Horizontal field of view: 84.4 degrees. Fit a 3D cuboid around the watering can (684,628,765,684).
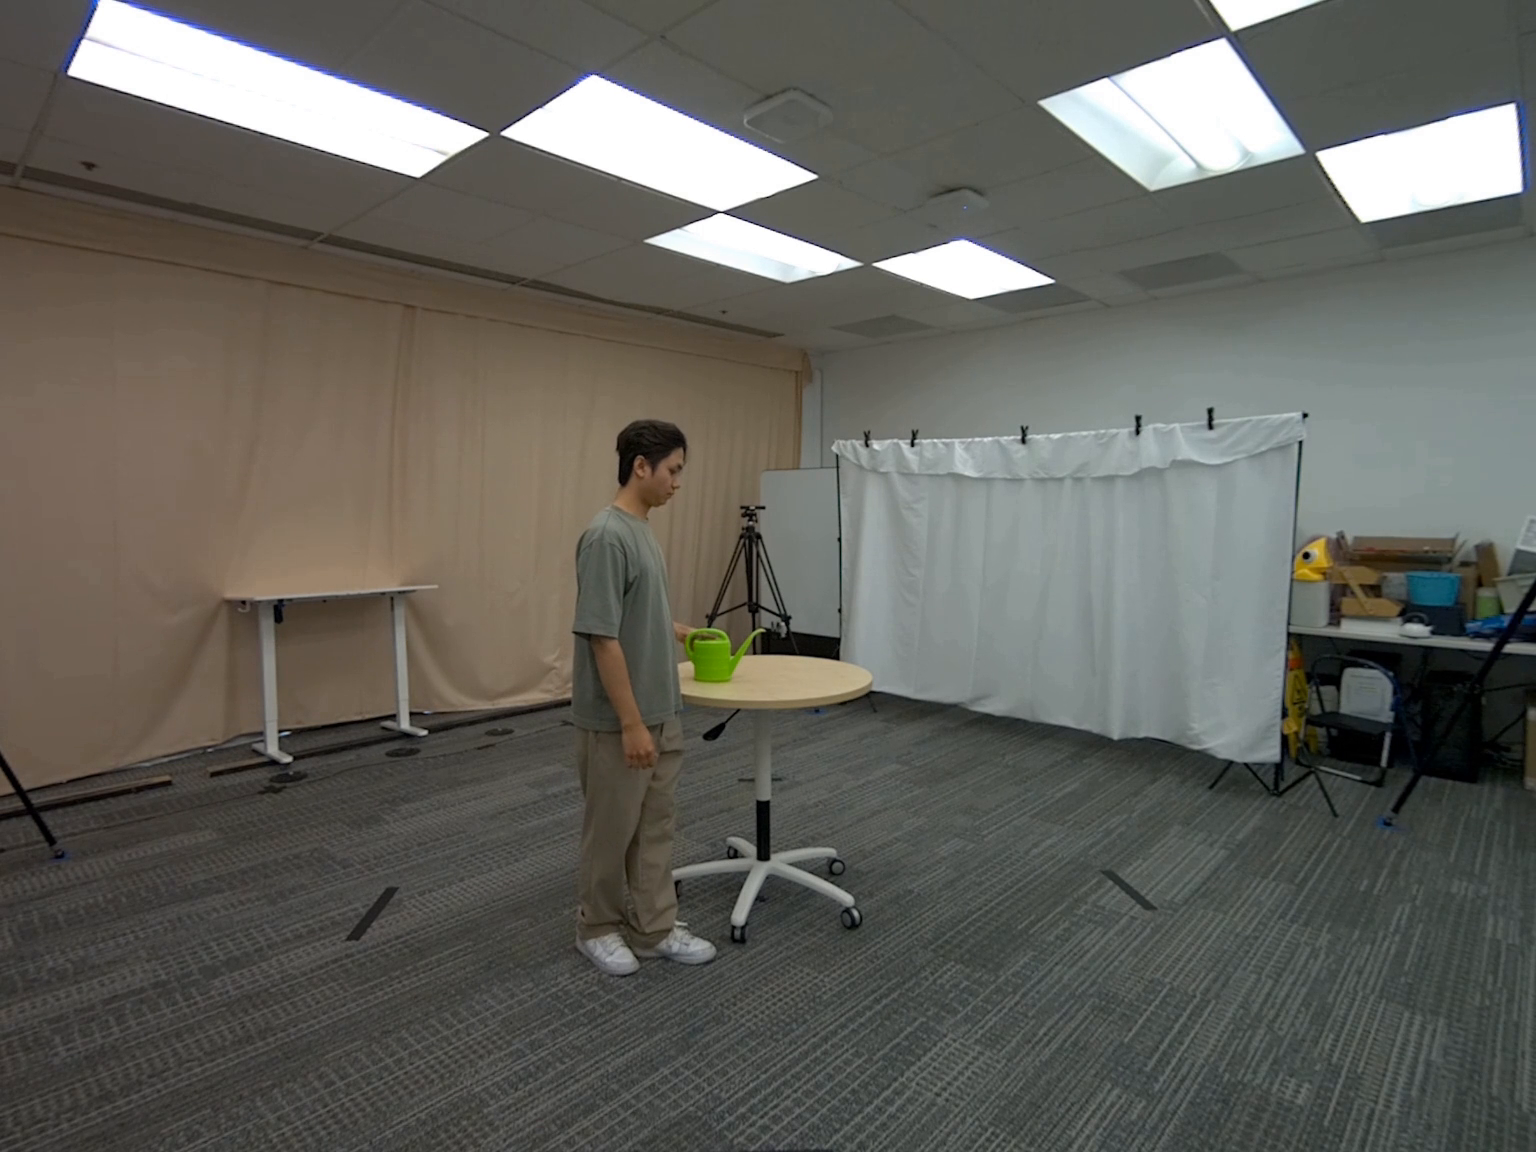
[{"bbox_3d":[-0.147,0.272,2.865,0.286,0.176,0.095,0,3,29],"label":"watering can"}]
